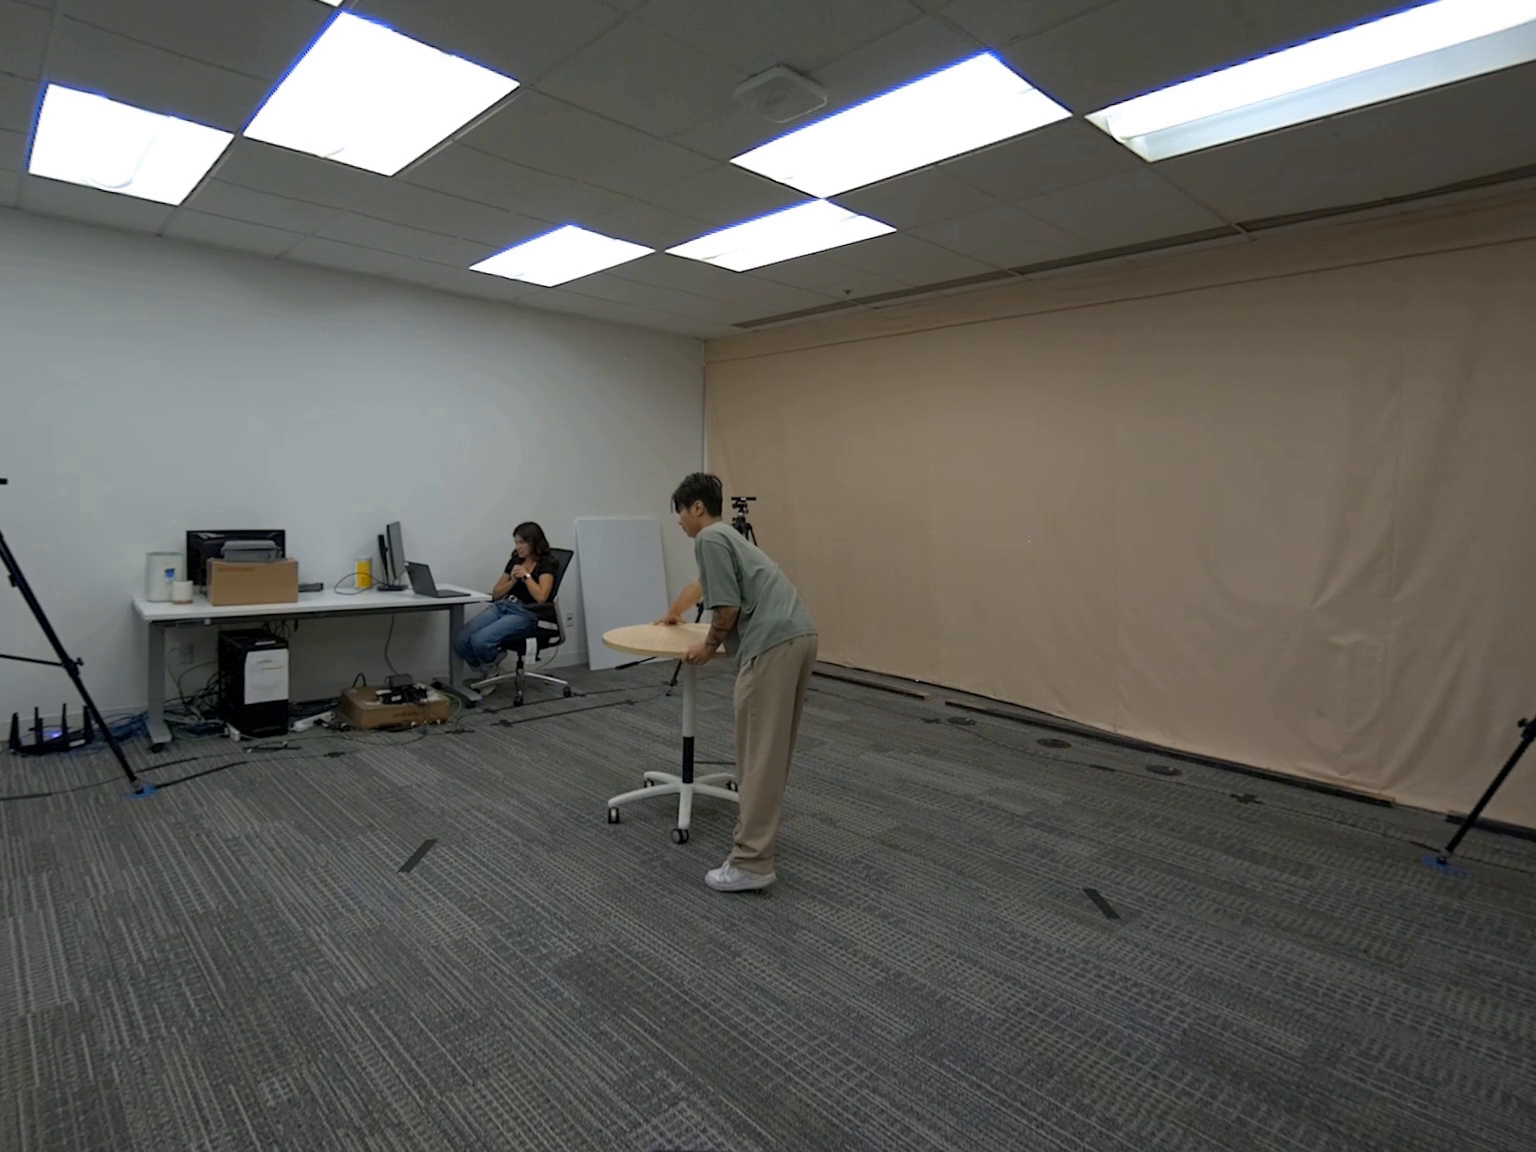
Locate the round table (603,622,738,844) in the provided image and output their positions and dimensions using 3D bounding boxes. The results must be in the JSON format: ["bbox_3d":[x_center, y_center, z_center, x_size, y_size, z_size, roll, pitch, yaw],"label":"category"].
[{"bbox_3d":[-0.348,0.654,3.710,0.784,0.784,0.788,1,4,-1],"label":"round table"}]
